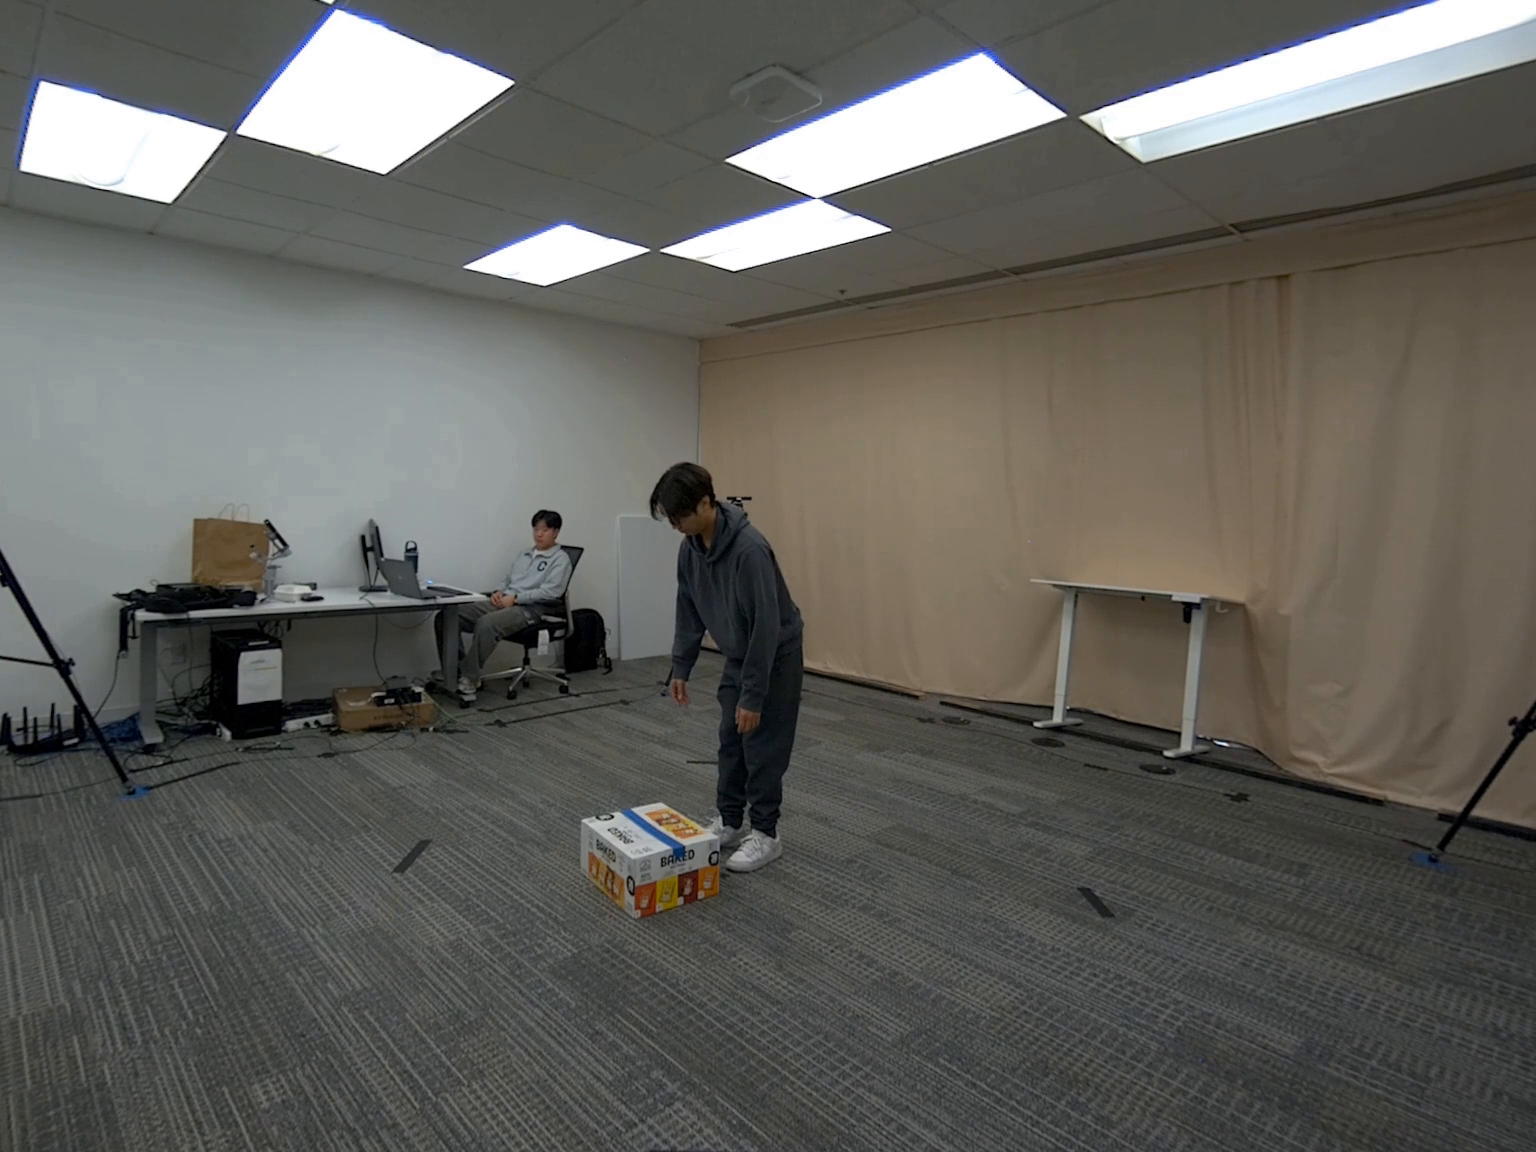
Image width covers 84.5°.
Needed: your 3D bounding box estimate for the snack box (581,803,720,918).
[{"bbox_3d":[-0.436,1.008,3.015,0.333,0.205,0.415,-2,6,-37],"label":"snack box"}]
